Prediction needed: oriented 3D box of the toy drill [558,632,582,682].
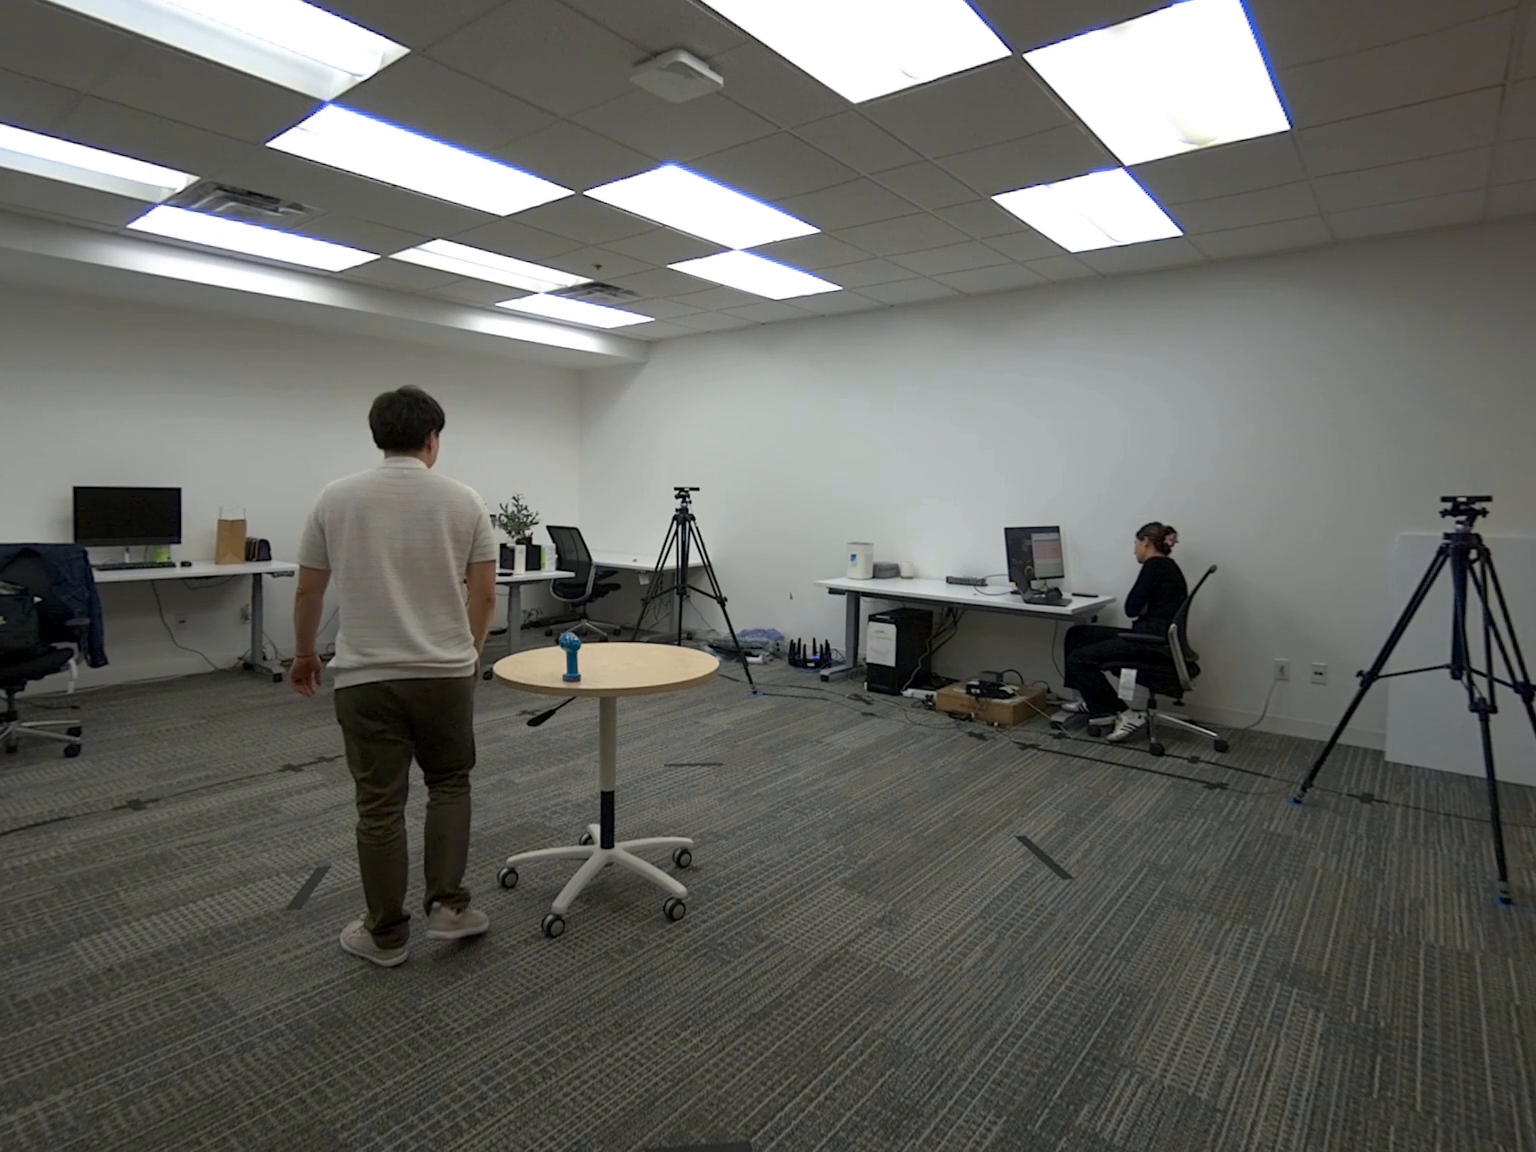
[{"bbox_3d":[-0.639,0.247,2.686,0.059,0.145,0.175,-3,4,-29],"label":"toy drill"}]
